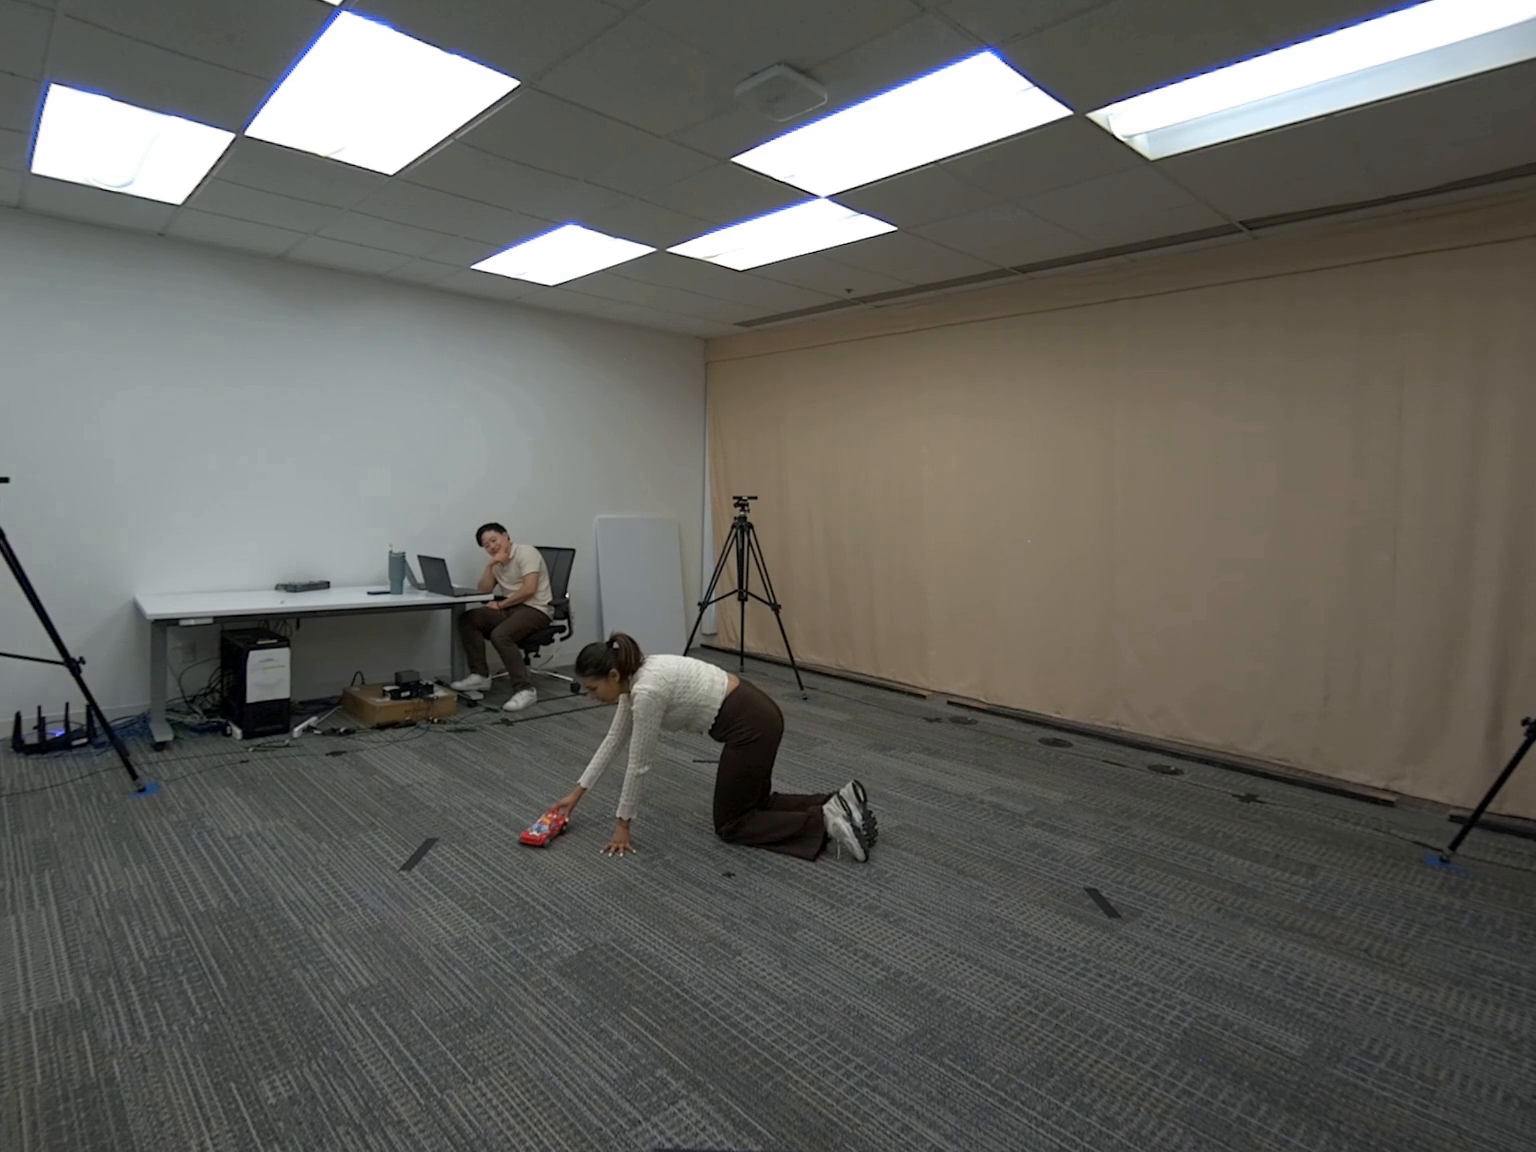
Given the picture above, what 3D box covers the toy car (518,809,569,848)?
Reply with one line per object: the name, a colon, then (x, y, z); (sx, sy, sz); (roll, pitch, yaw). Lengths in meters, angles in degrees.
toy car: (-0.903, 1.023, 3.408); (0.132, 0.082, 0.254); (2, 14, 15)
